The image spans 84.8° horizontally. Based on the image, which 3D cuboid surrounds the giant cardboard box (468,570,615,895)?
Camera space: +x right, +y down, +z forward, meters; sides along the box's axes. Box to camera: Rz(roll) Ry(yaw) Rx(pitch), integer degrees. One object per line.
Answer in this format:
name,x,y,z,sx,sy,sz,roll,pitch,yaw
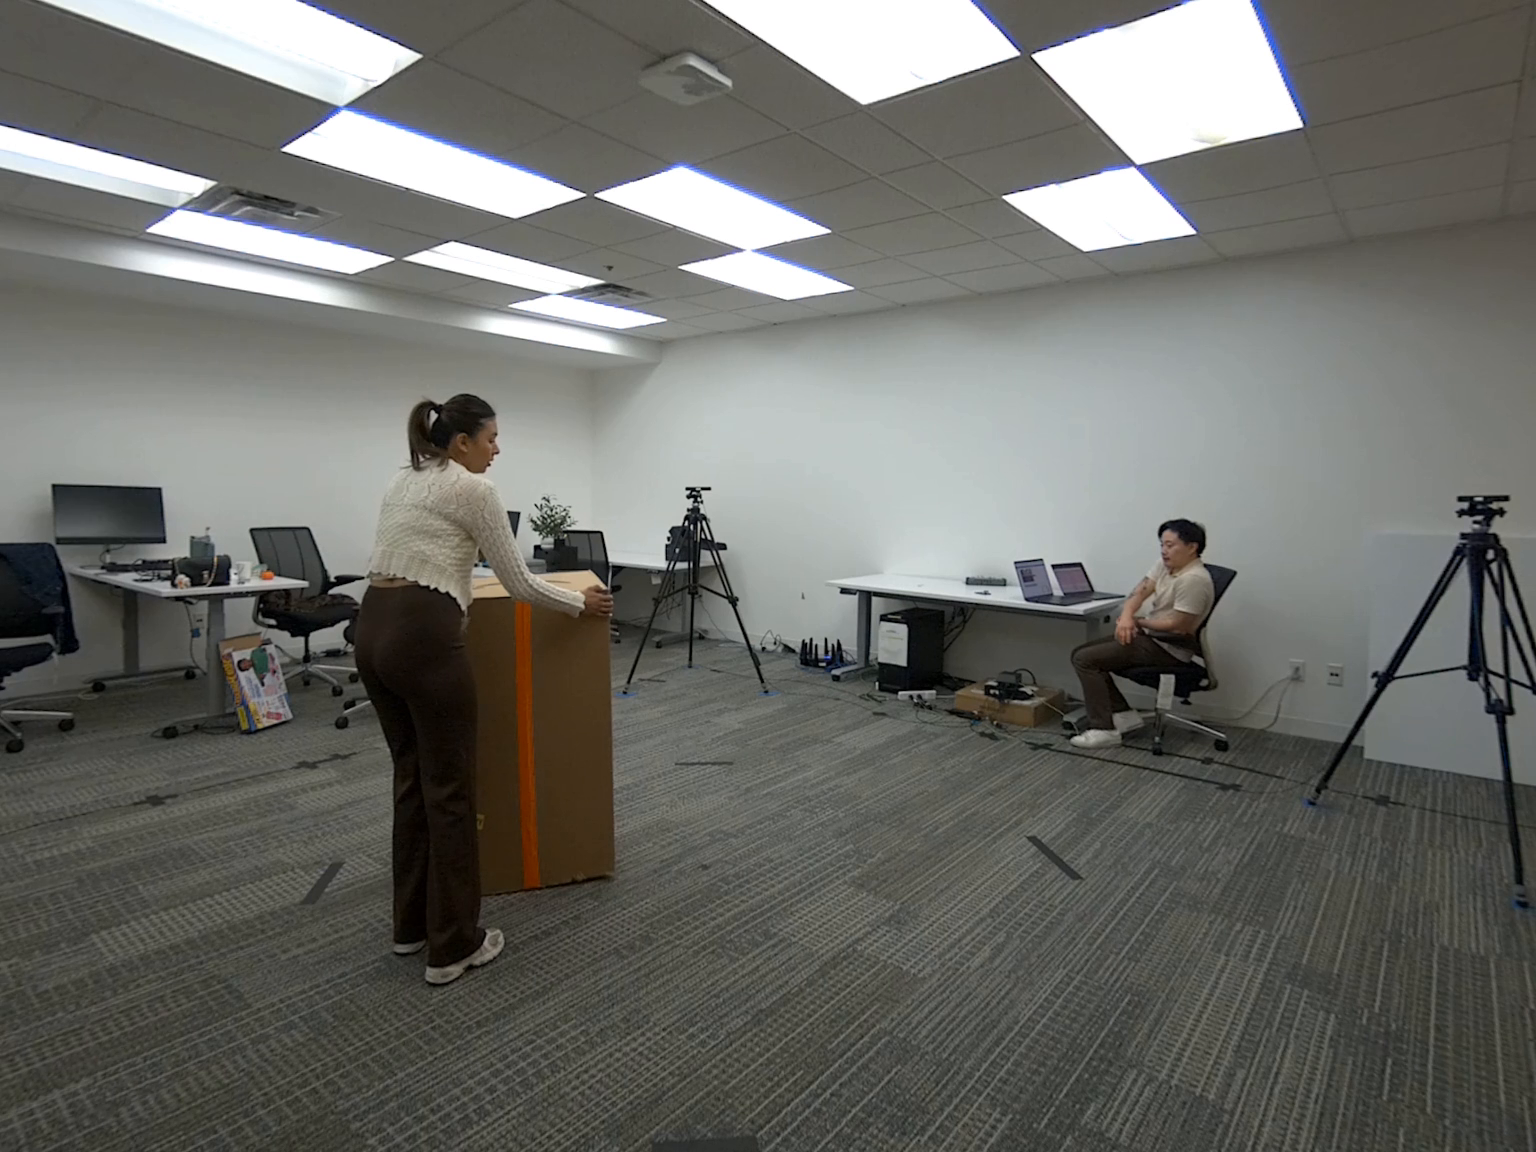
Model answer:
giant cardboard box,-0.886,0.539,3.059,0.567,1.019,0.436,-3,7,-18
